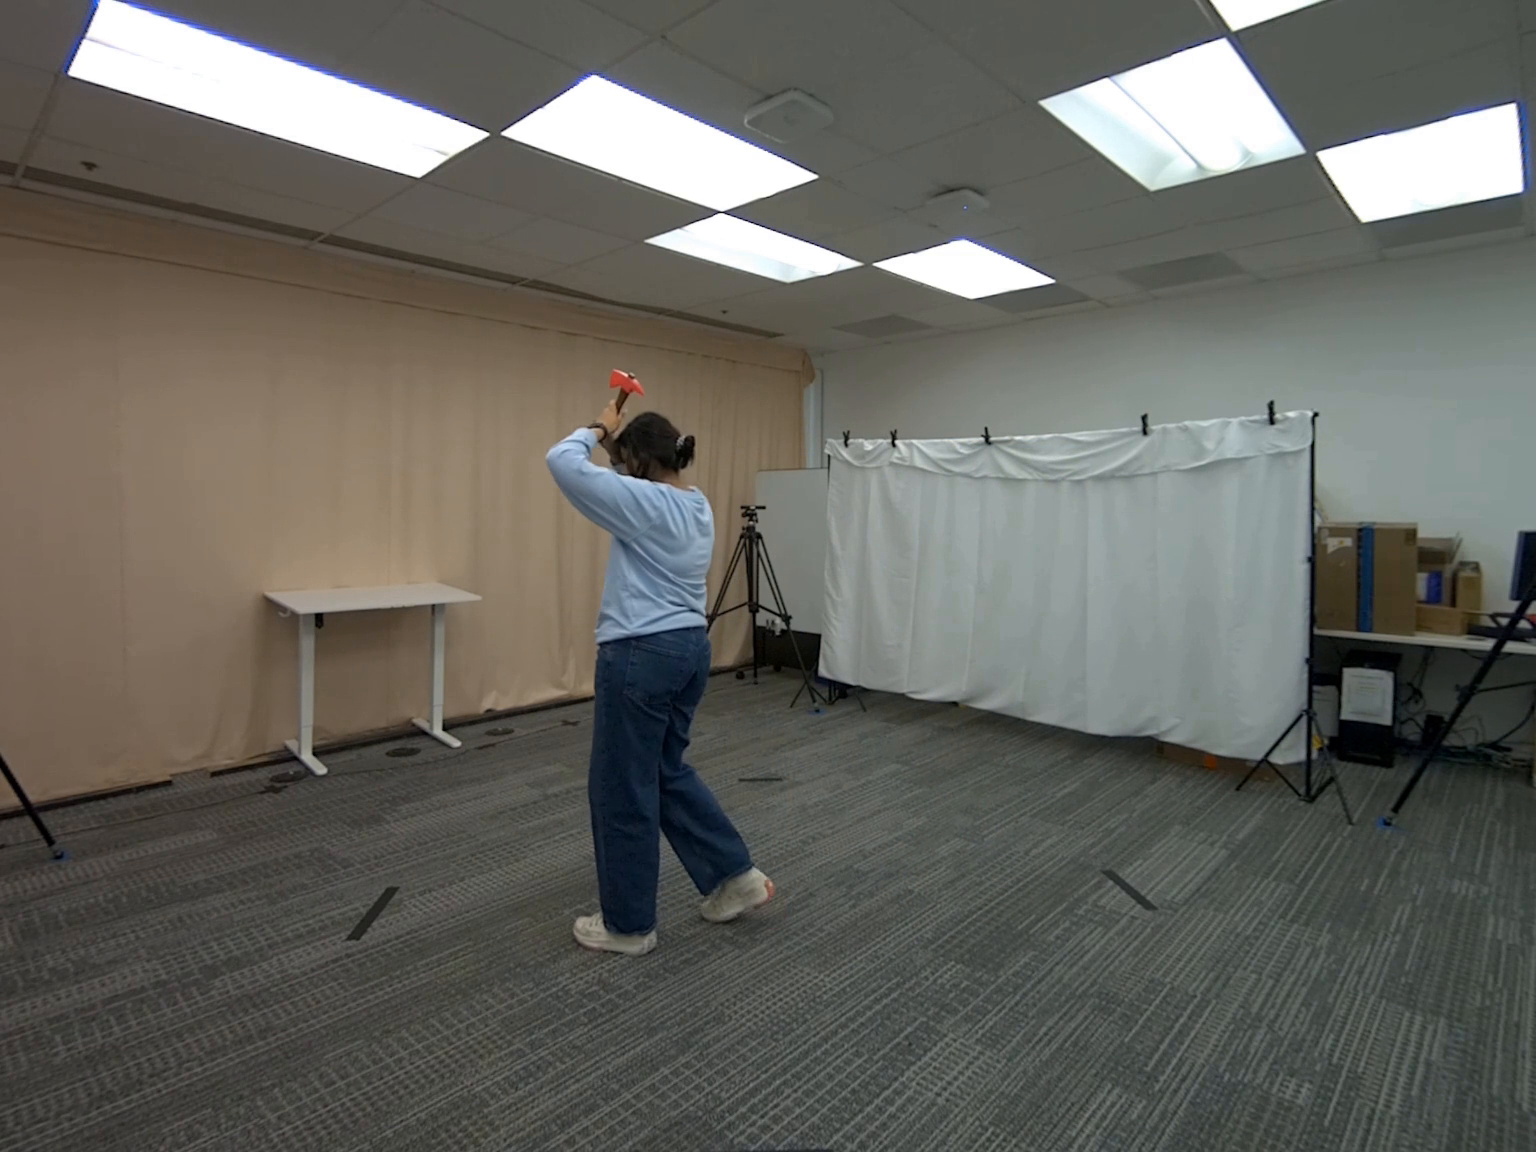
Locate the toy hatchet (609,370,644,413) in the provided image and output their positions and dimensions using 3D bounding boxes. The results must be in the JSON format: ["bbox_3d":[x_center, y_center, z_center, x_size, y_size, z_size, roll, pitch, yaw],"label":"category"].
[{"bbox_3d":[-0.504,-0.553,2.683,0.273,0.131,0.029,-36,-3,31],"label":"toy hatchet"}]
